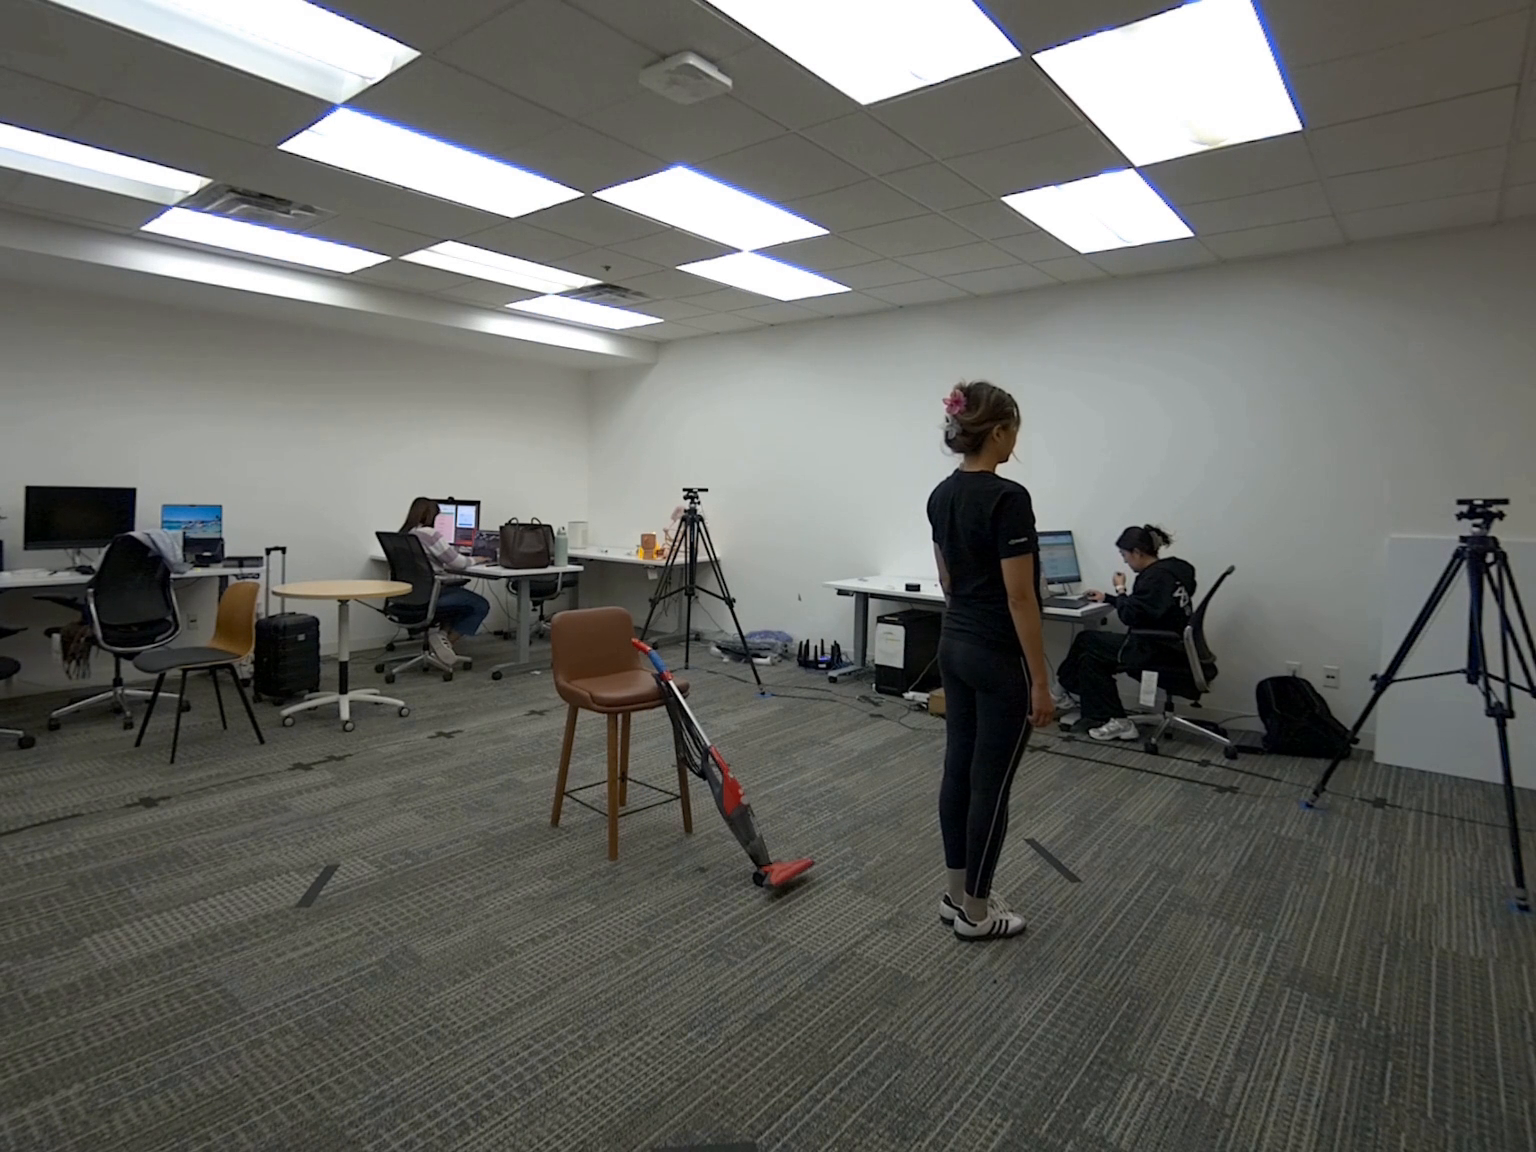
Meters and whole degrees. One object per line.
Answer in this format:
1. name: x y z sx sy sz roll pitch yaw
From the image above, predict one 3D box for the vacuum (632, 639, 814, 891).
1. vacuum: -0.244 0.666 3.206 0.144 1.082 0.245 -47 -26 25
